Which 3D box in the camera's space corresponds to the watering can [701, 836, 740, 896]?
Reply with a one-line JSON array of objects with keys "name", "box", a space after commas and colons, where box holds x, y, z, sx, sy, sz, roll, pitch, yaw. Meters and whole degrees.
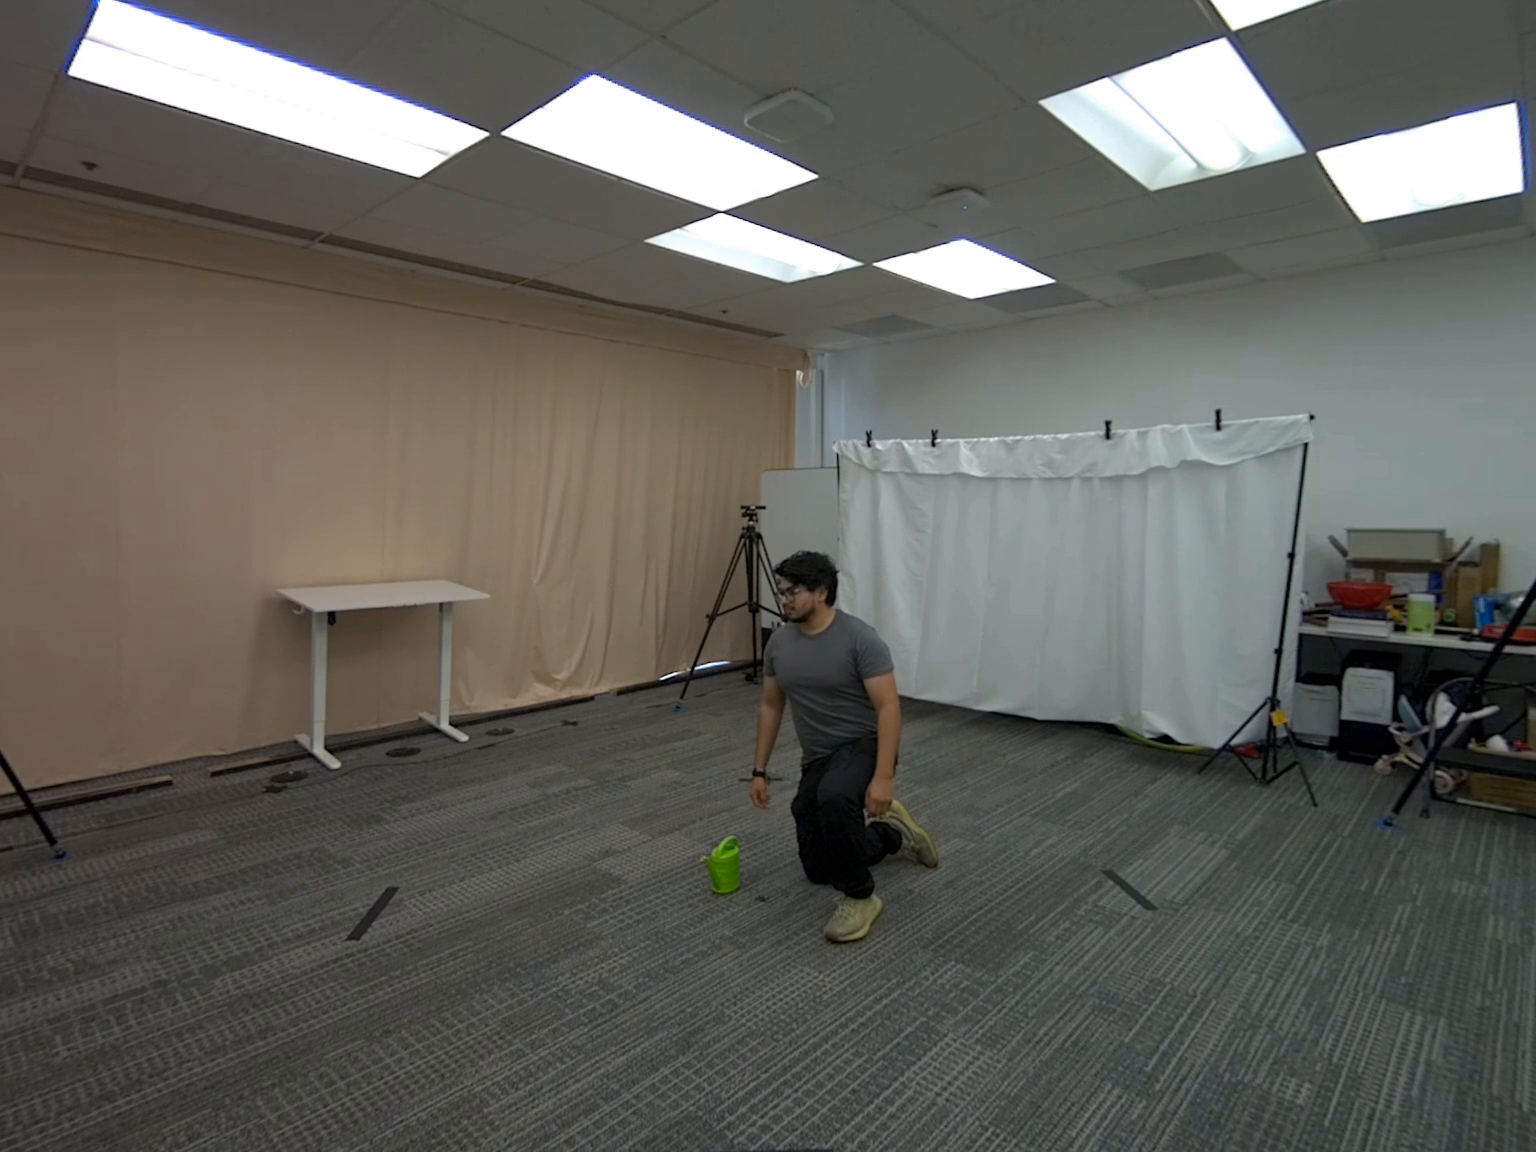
[{"name": "watering can", "box": [-0.179, 1.054, 3.038, 0.101, 0.176, 0.270, 2, 4, 38]}]
